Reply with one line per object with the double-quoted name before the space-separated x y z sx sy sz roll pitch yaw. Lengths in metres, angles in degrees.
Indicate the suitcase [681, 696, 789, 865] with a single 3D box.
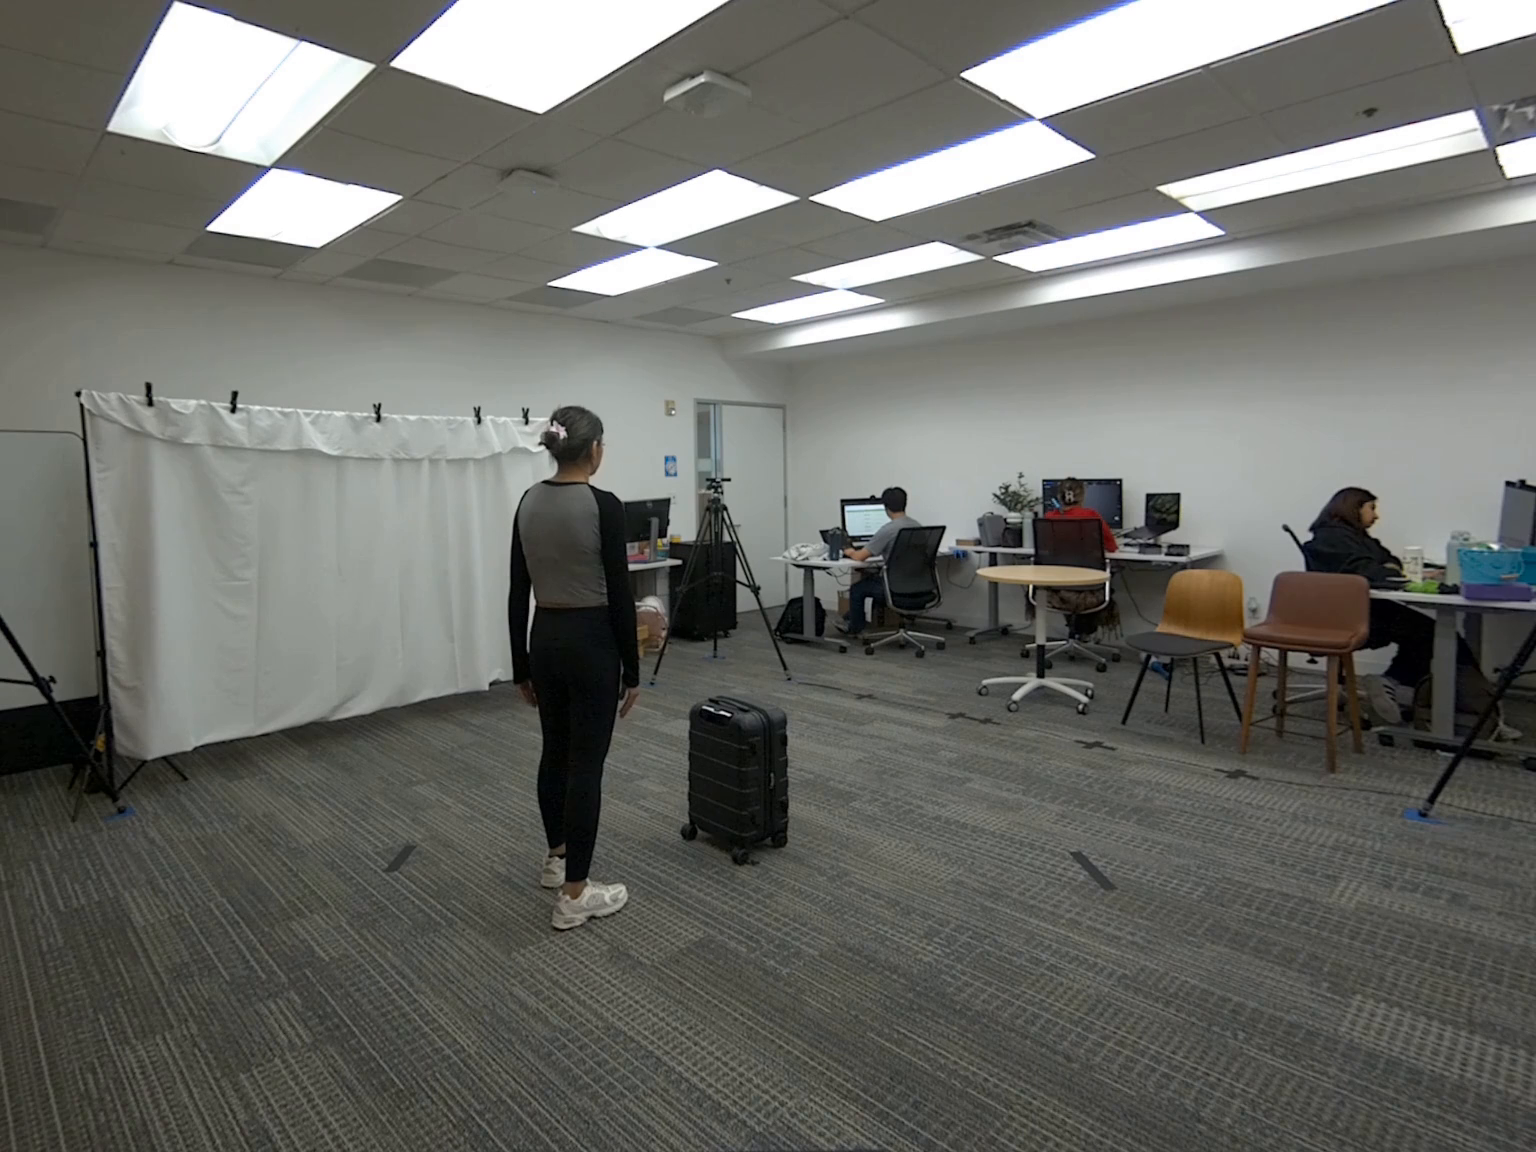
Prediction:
"suitcase" -0.120 0.748 3.281 0.241 0.548 0.387 -1 3 -43
